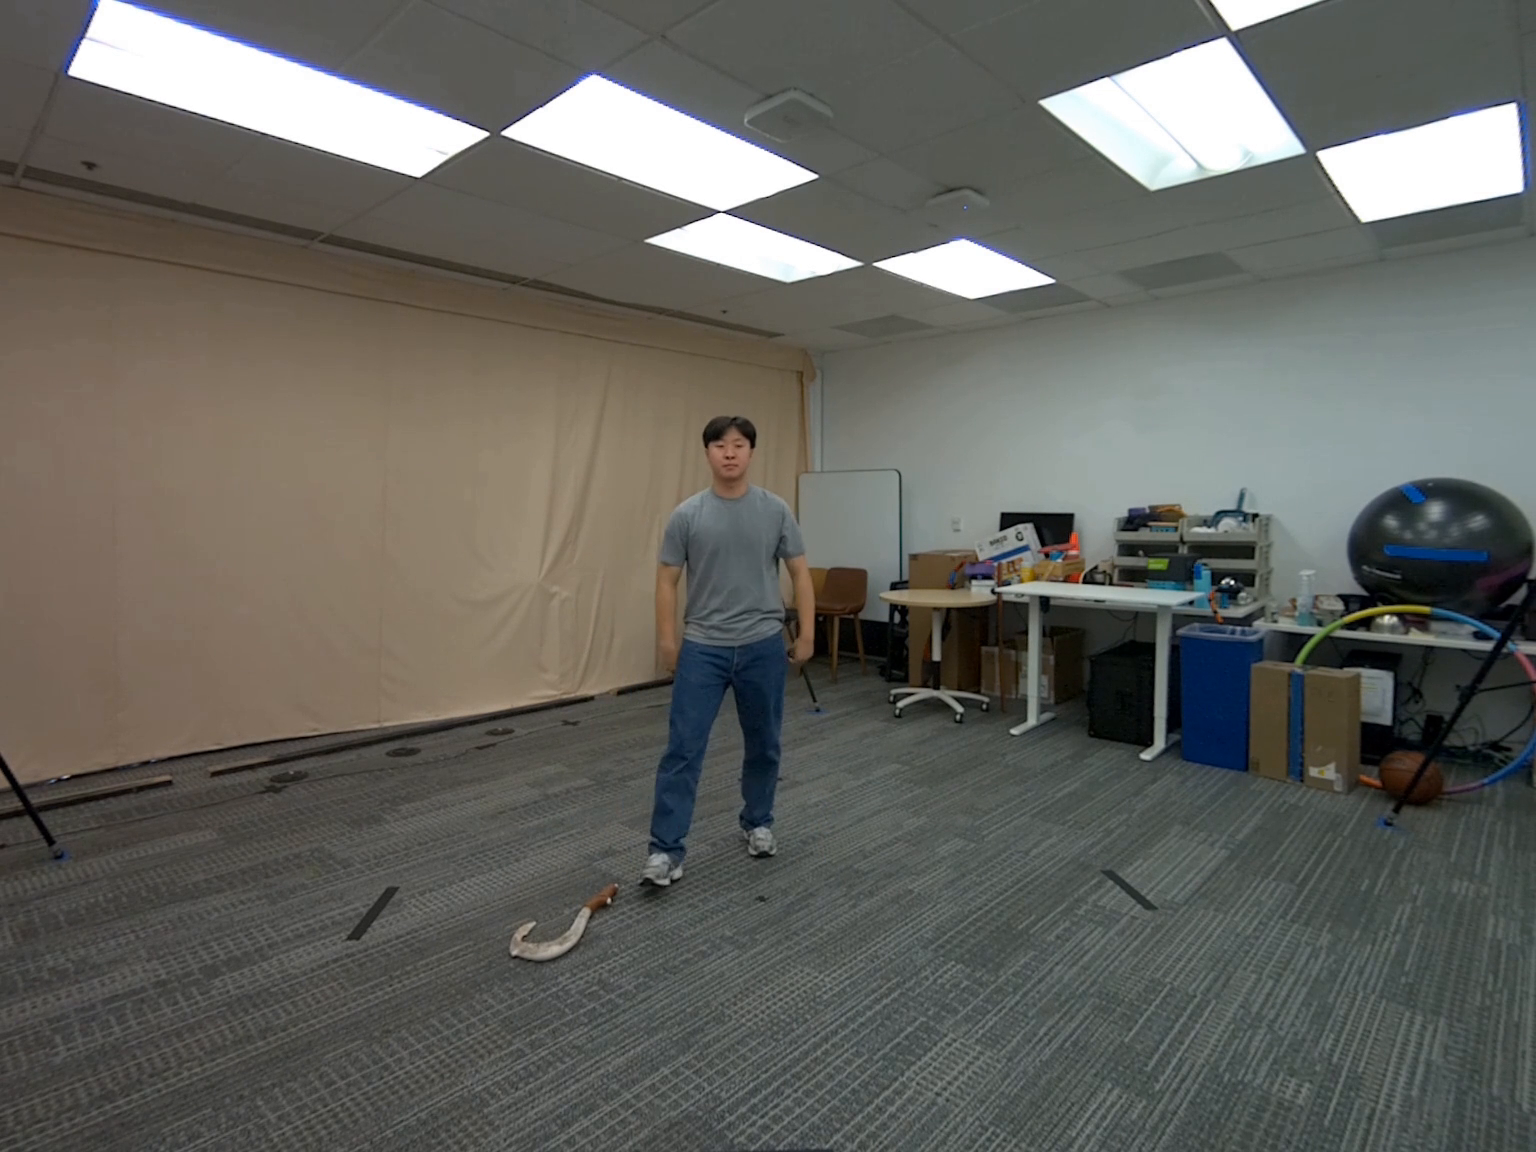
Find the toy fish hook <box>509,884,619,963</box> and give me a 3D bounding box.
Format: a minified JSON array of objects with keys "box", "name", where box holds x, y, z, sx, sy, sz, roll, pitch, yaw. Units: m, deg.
[{"box":[-0.677,1.141,2.811,0.229,0.048,0.498,2,5,18],"name":"toy fish hook"}]
